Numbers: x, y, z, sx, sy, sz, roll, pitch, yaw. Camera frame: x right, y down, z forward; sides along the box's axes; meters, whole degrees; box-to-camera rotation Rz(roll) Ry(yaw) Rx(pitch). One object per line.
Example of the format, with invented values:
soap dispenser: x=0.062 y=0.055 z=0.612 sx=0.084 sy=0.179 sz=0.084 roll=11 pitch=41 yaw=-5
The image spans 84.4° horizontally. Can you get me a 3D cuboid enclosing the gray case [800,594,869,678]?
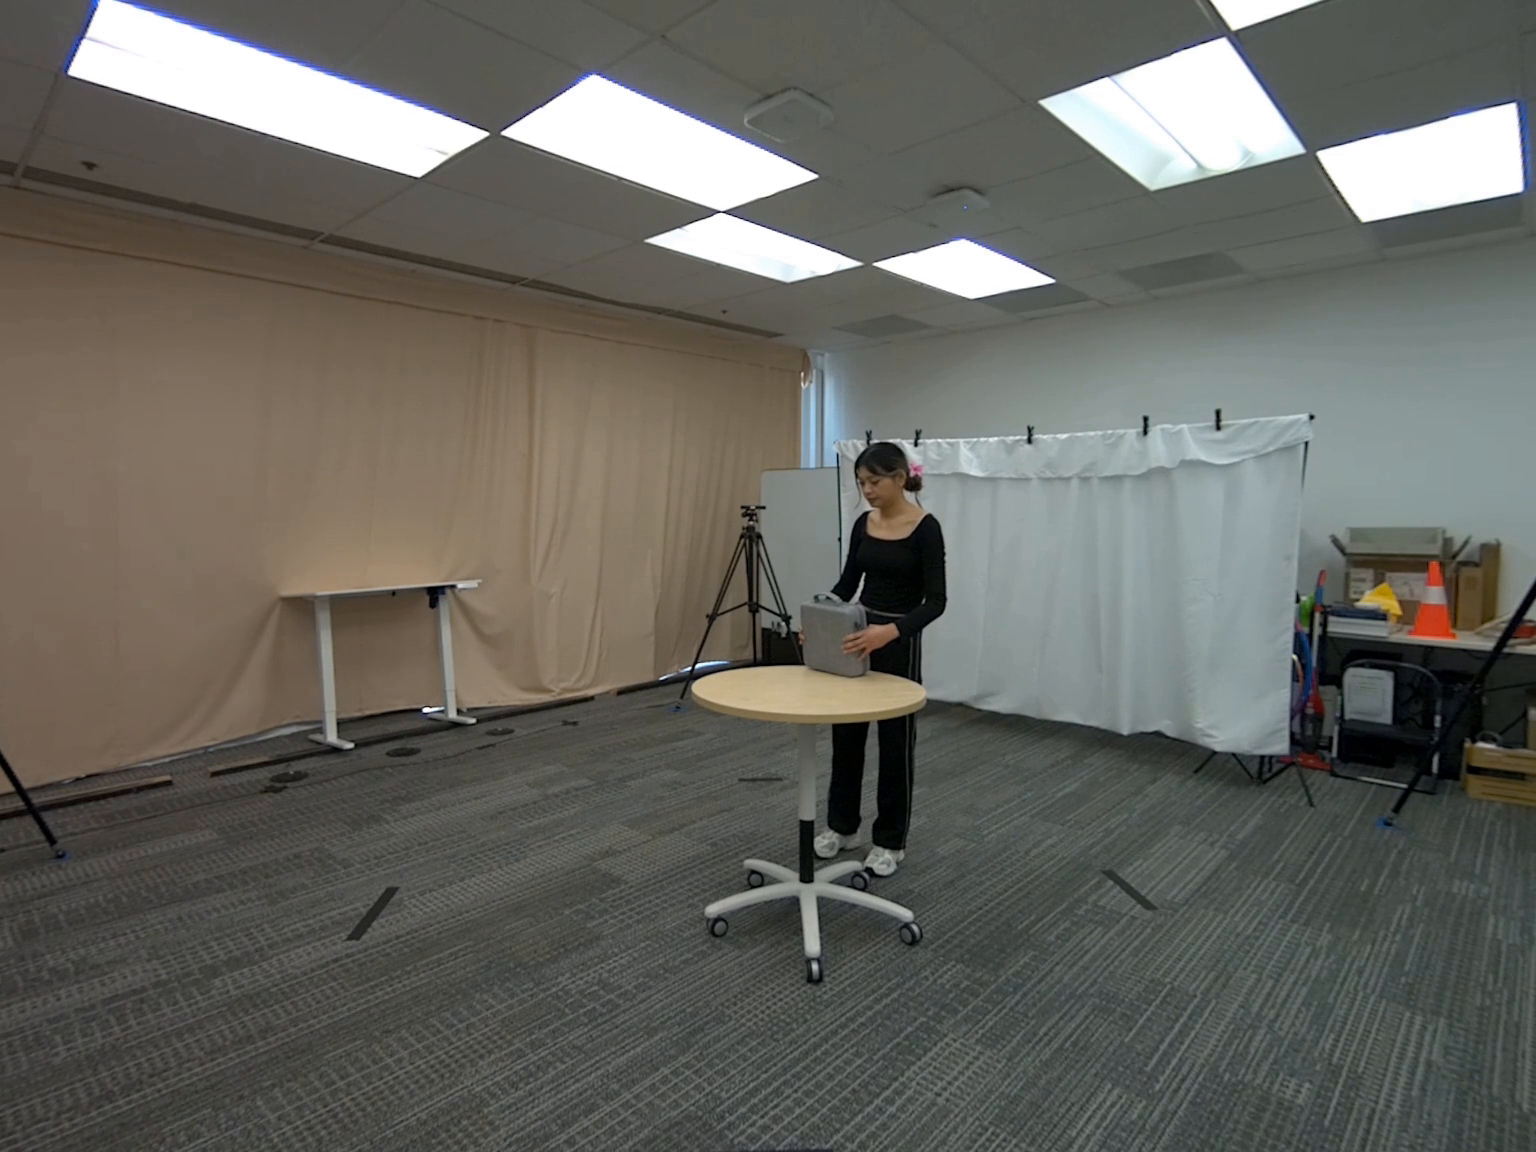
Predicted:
gray case: x=0.240 y=0.216 z=3.029 sx=0.102 sy=0.259 sz=0.265 roll=-13 pitch=12 yaw=-31
